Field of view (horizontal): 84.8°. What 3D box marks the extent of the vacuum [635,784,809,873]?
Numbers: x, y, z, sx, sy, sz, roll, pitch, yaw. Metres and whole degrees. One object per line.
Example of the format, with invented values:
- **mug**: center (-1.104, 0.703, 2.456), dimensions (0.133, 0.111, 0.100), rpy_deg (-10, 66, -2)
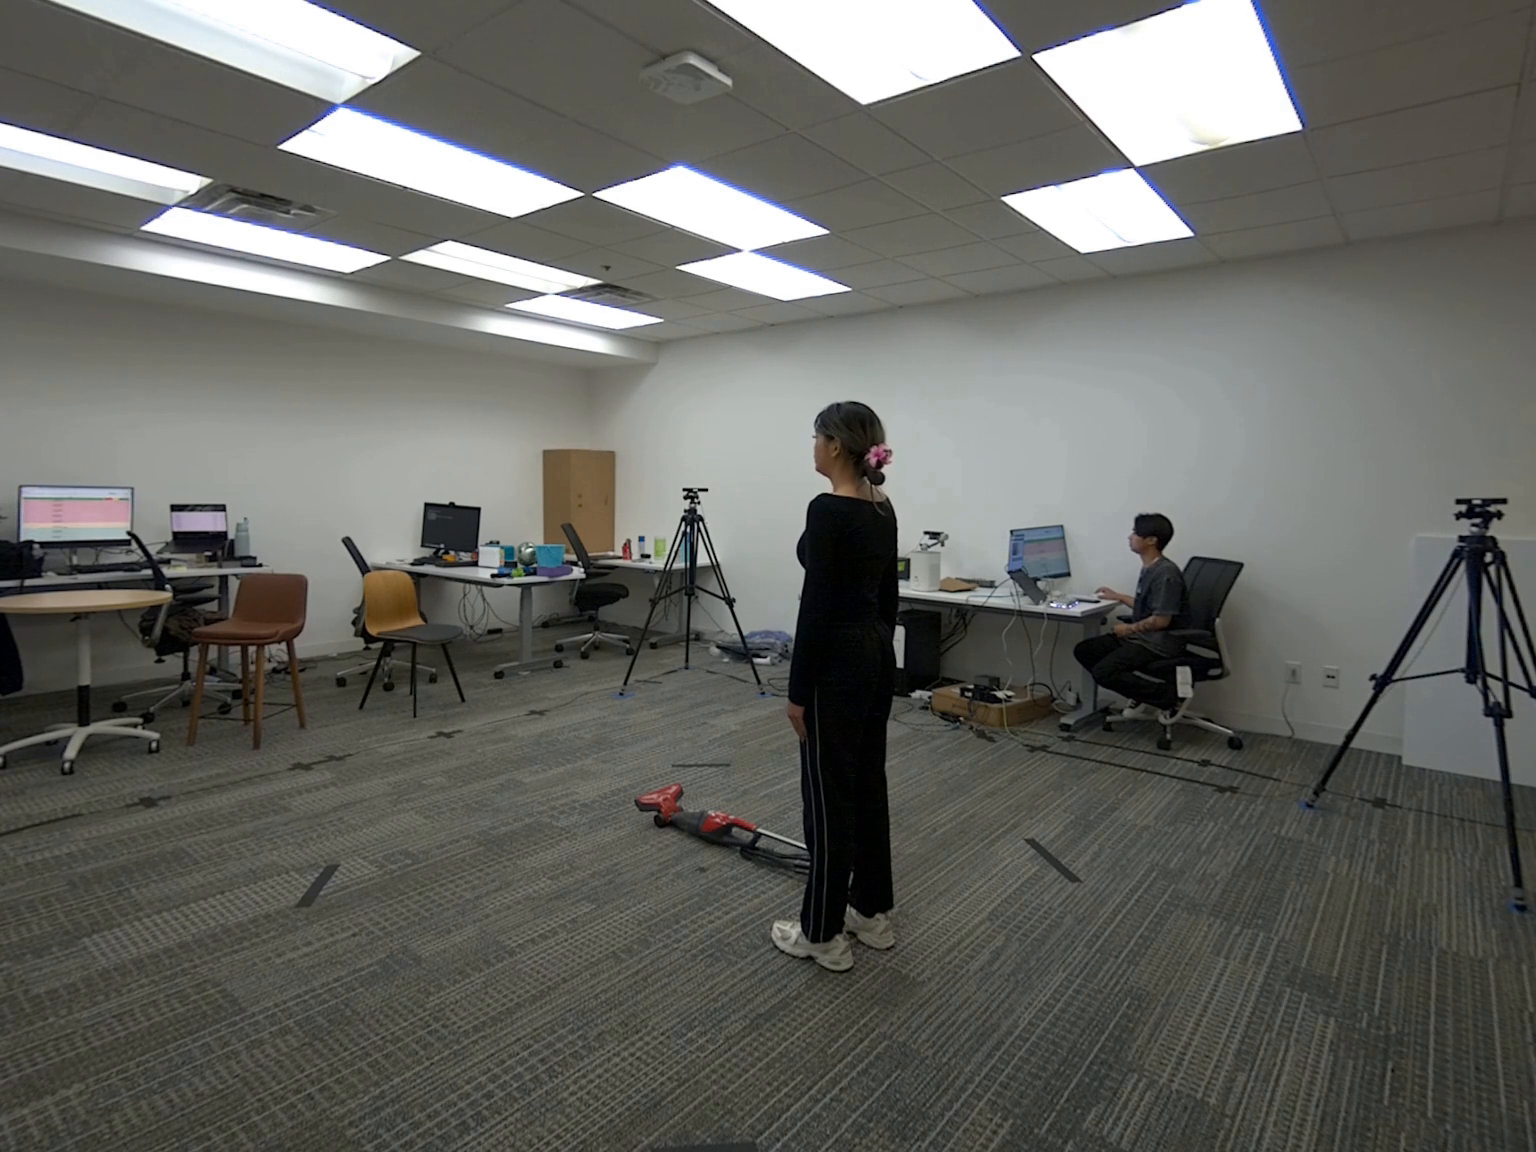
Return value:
- **vacuum**: center (-0.058, 1.008, 3.212), dimensions (1.086, 0.143, 0.245), rpy_deg (7, 8, 42)
